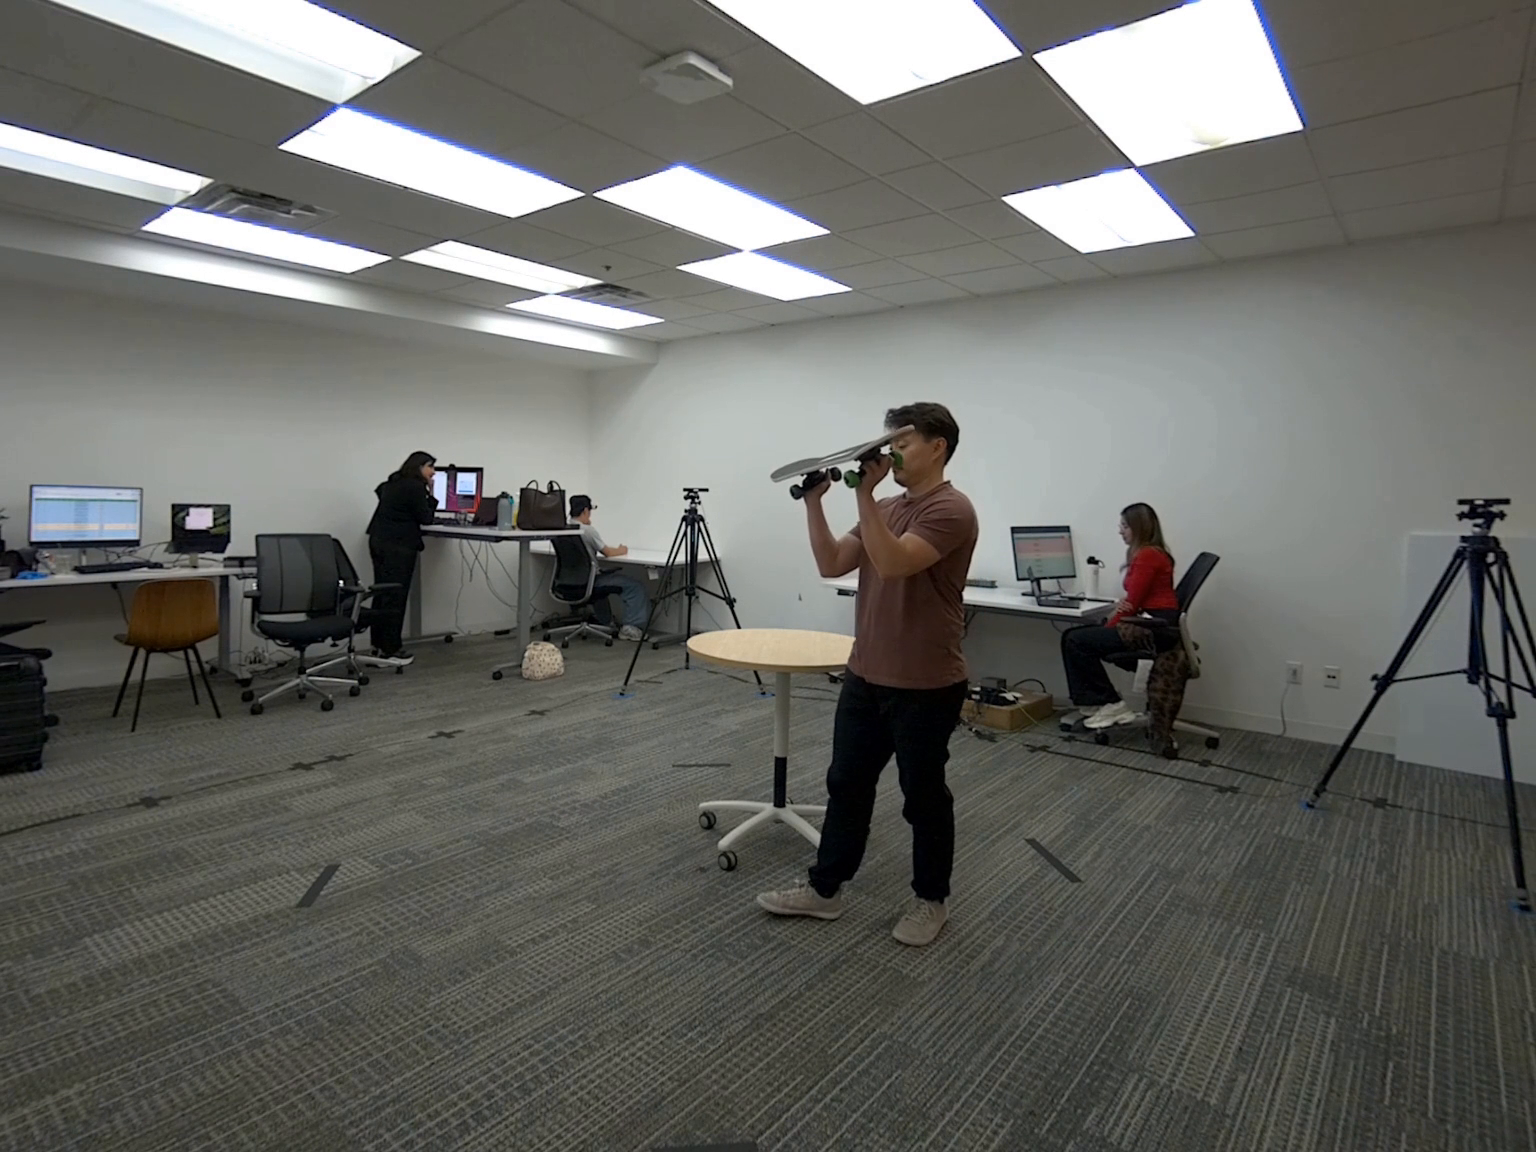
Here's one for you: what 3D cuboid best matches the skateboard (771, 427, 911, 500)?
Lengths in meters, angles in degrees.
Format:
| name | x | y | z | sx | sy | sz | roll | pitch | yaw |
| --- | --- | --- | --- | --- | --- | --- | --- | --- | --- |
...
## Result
| name | x | y | z | sx | sy | sz | roll | pitch | yaw |
| --- | --- | --- | --- | --- | --- | --- | --- | --- | --- |
| skateboard | 0.201 | -0.327 | 2.586 | 0.192 | 0.109 | 0.799 | -28 | 9 | -17 |
